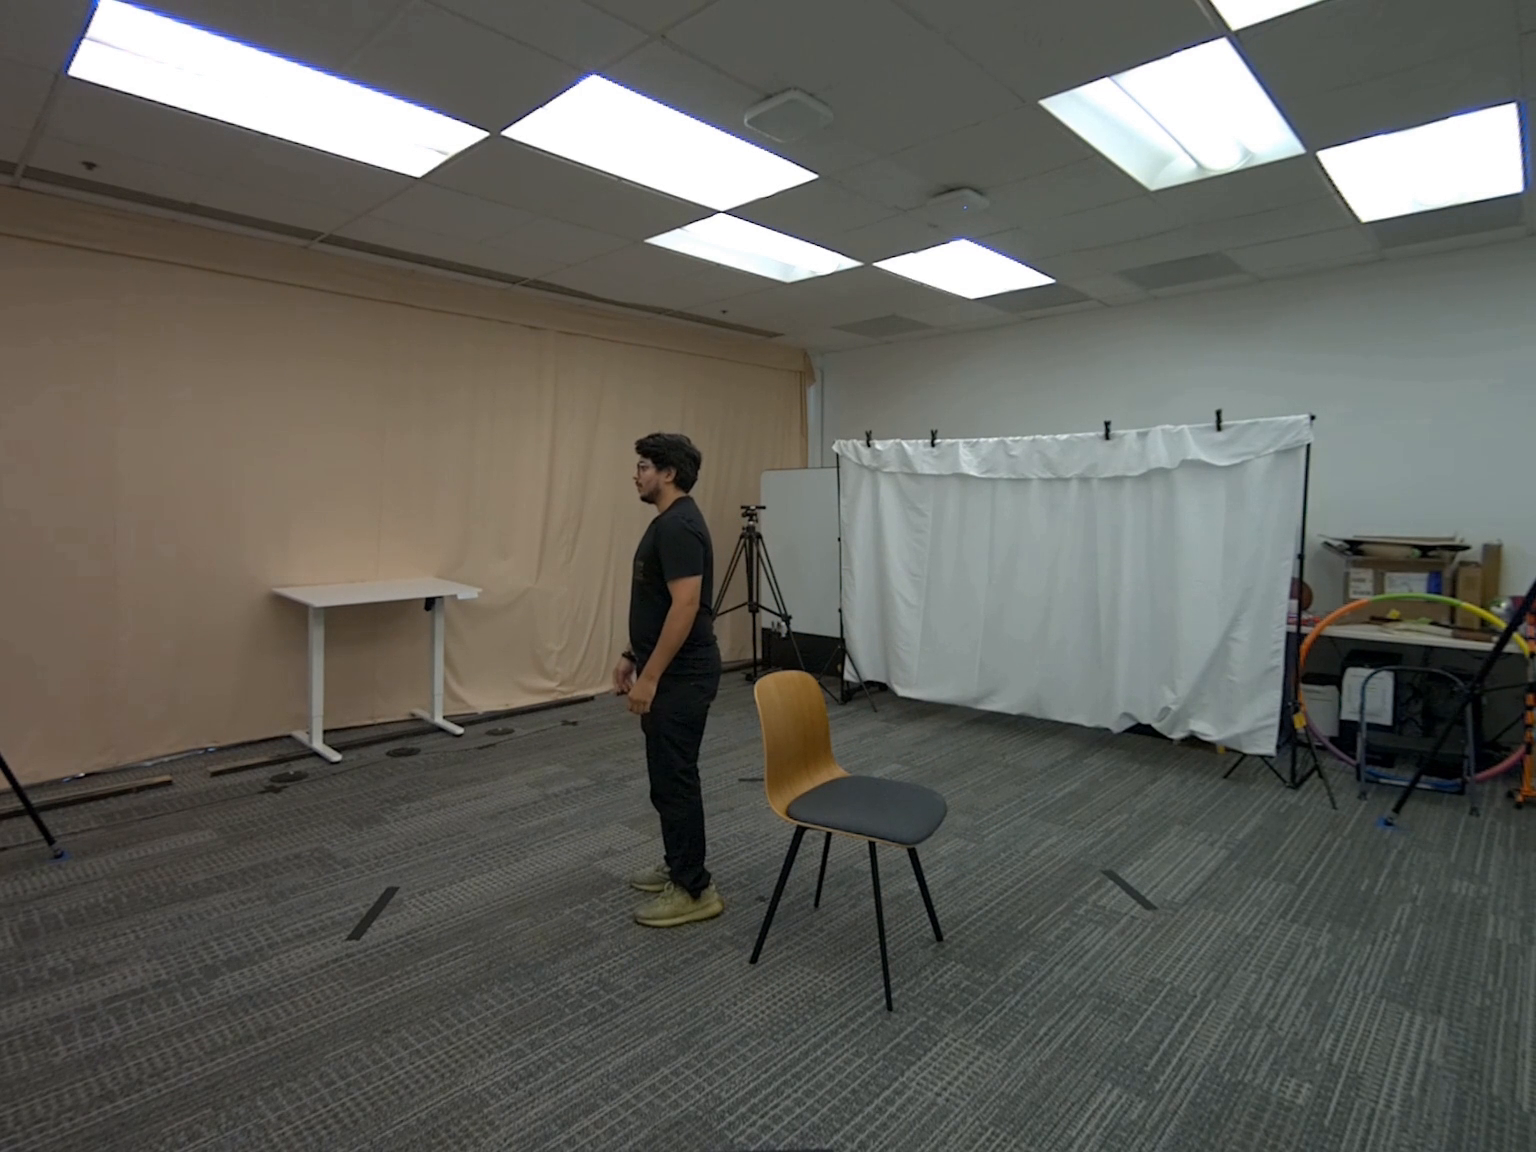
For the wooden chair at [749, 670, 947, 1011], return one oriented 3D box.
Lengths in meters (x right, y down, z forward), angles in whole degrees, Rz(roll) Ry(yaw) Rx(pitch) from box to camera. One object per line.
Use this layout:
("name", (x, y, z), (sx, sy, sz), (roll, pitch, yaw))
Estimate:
("wooden chair", (0.263, 0.749, 2.593), (0.538, 0.877, 0.465), (-3, 1, 32))
